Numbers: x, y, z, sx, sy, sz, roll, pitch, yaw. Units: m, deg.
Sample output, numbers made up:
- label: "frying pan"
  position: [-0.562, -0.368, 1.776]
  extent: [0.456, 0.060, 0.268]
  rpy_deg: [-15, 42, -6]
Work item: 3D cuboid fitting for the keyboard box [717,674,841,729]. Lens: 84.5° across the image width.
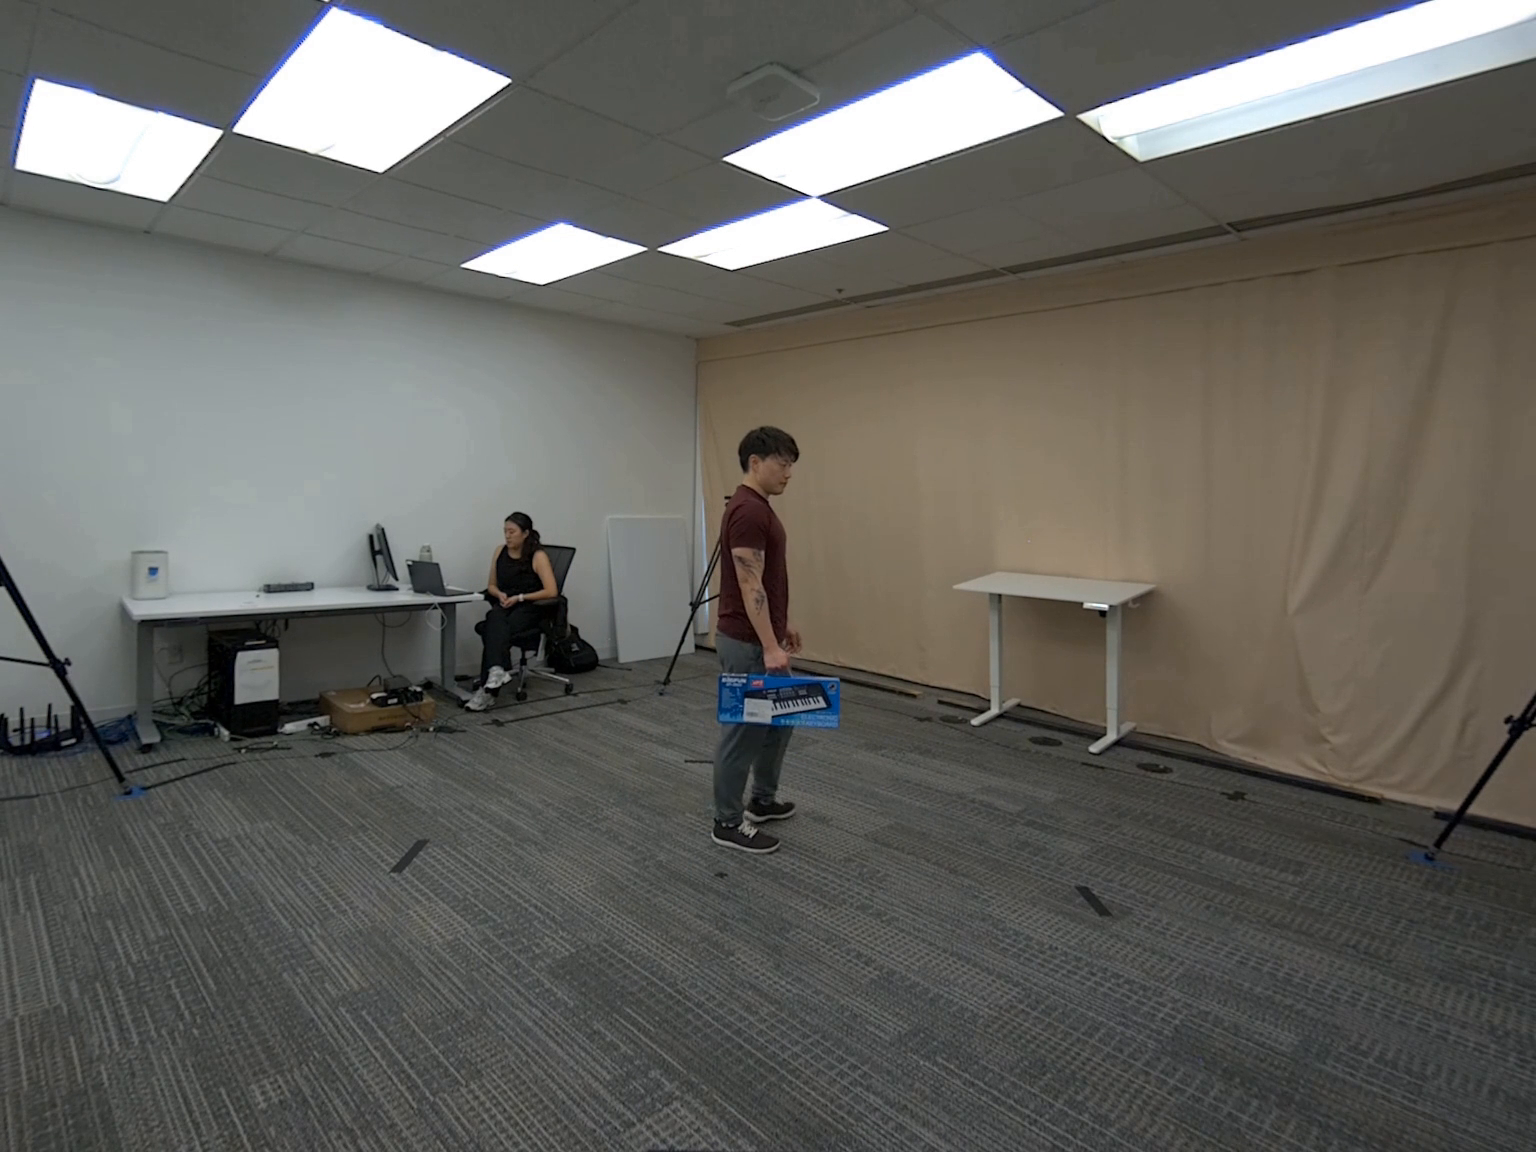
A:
- label: "keyboard box"
  position: [0.030, 0.448, 3.056]
  extent: [0.438, 0.176, 0.059]
  rpy_deg: [0, -1, 5]
